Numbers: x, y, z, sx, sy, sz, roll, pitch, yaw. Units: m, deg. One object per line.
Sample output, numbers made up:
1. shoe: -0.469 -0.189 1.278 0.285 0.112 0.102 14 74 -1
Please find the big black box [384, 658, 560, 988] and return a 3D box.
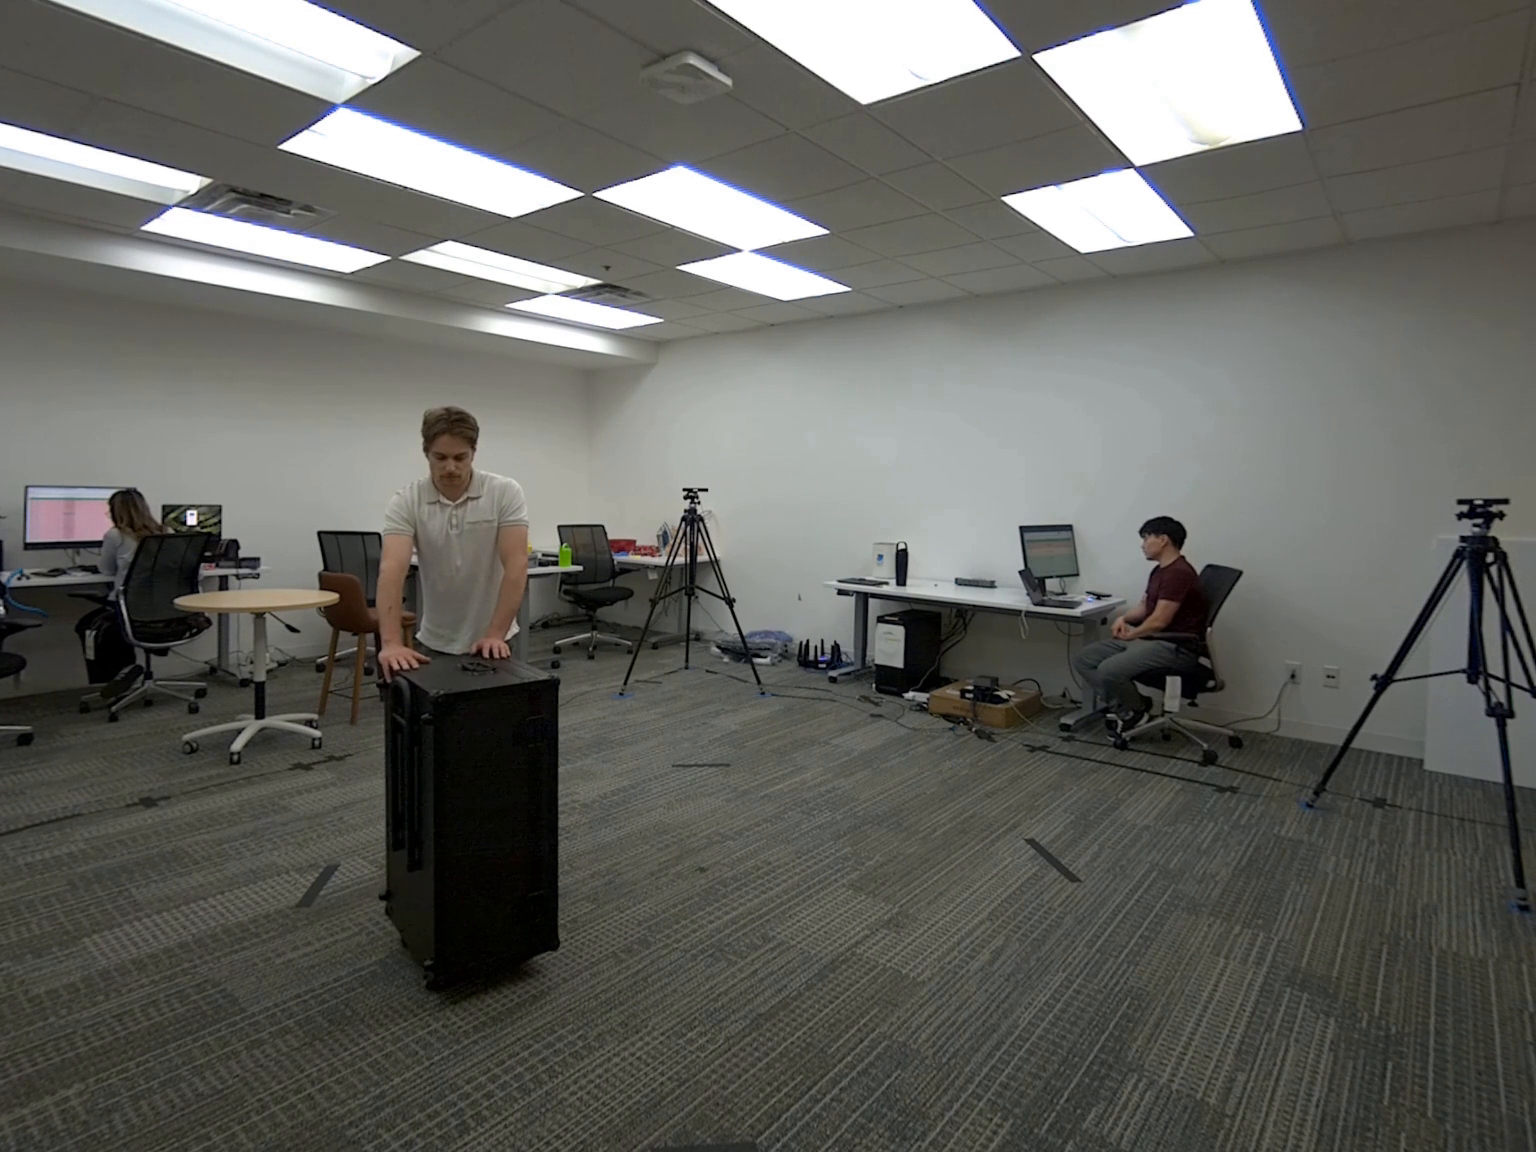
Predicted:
1. big black box: -0.882 0.700 2.488 0.374 0.866 0.541 -1 4 -38
